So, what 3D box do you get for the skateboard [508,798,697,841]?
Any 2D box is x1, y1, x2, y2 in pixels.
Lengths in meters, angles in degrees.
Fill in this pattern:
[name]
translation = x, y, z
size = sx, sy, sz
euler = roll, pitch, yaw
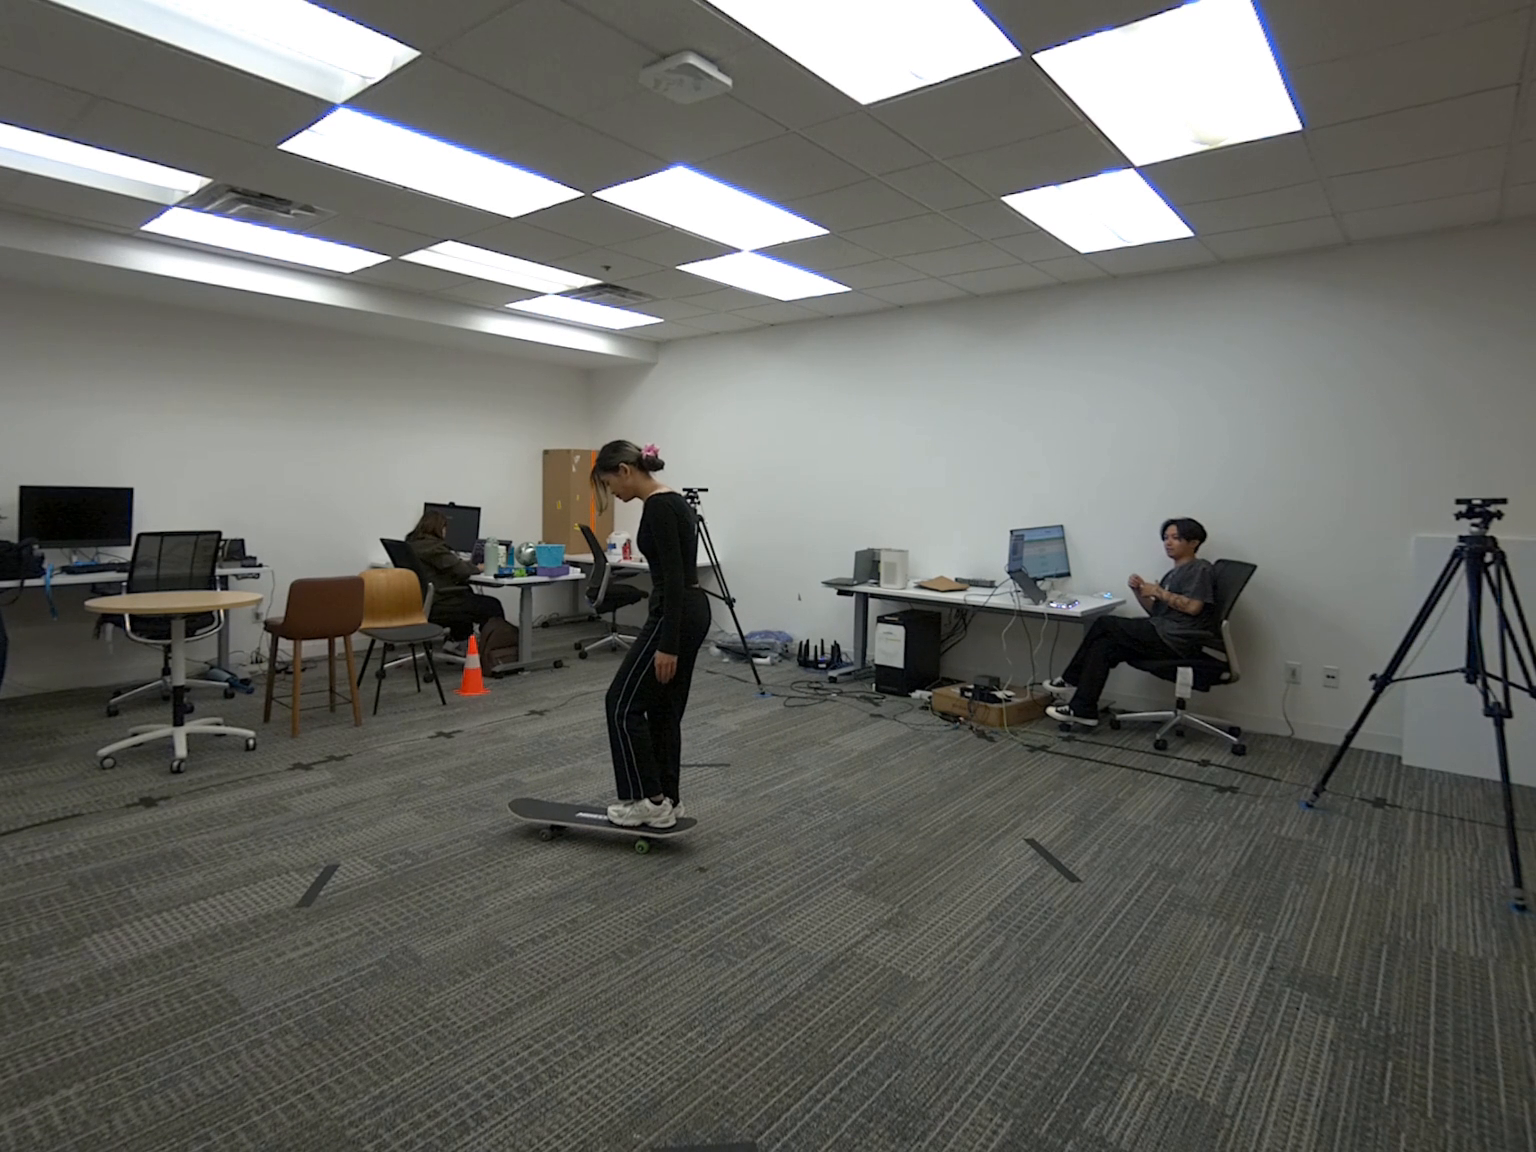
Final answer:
[skateboard]
translation = -0.661, 0.978, 3.356
size = 0.797, 0.110, 0.191
euler = 2, 5, 13
